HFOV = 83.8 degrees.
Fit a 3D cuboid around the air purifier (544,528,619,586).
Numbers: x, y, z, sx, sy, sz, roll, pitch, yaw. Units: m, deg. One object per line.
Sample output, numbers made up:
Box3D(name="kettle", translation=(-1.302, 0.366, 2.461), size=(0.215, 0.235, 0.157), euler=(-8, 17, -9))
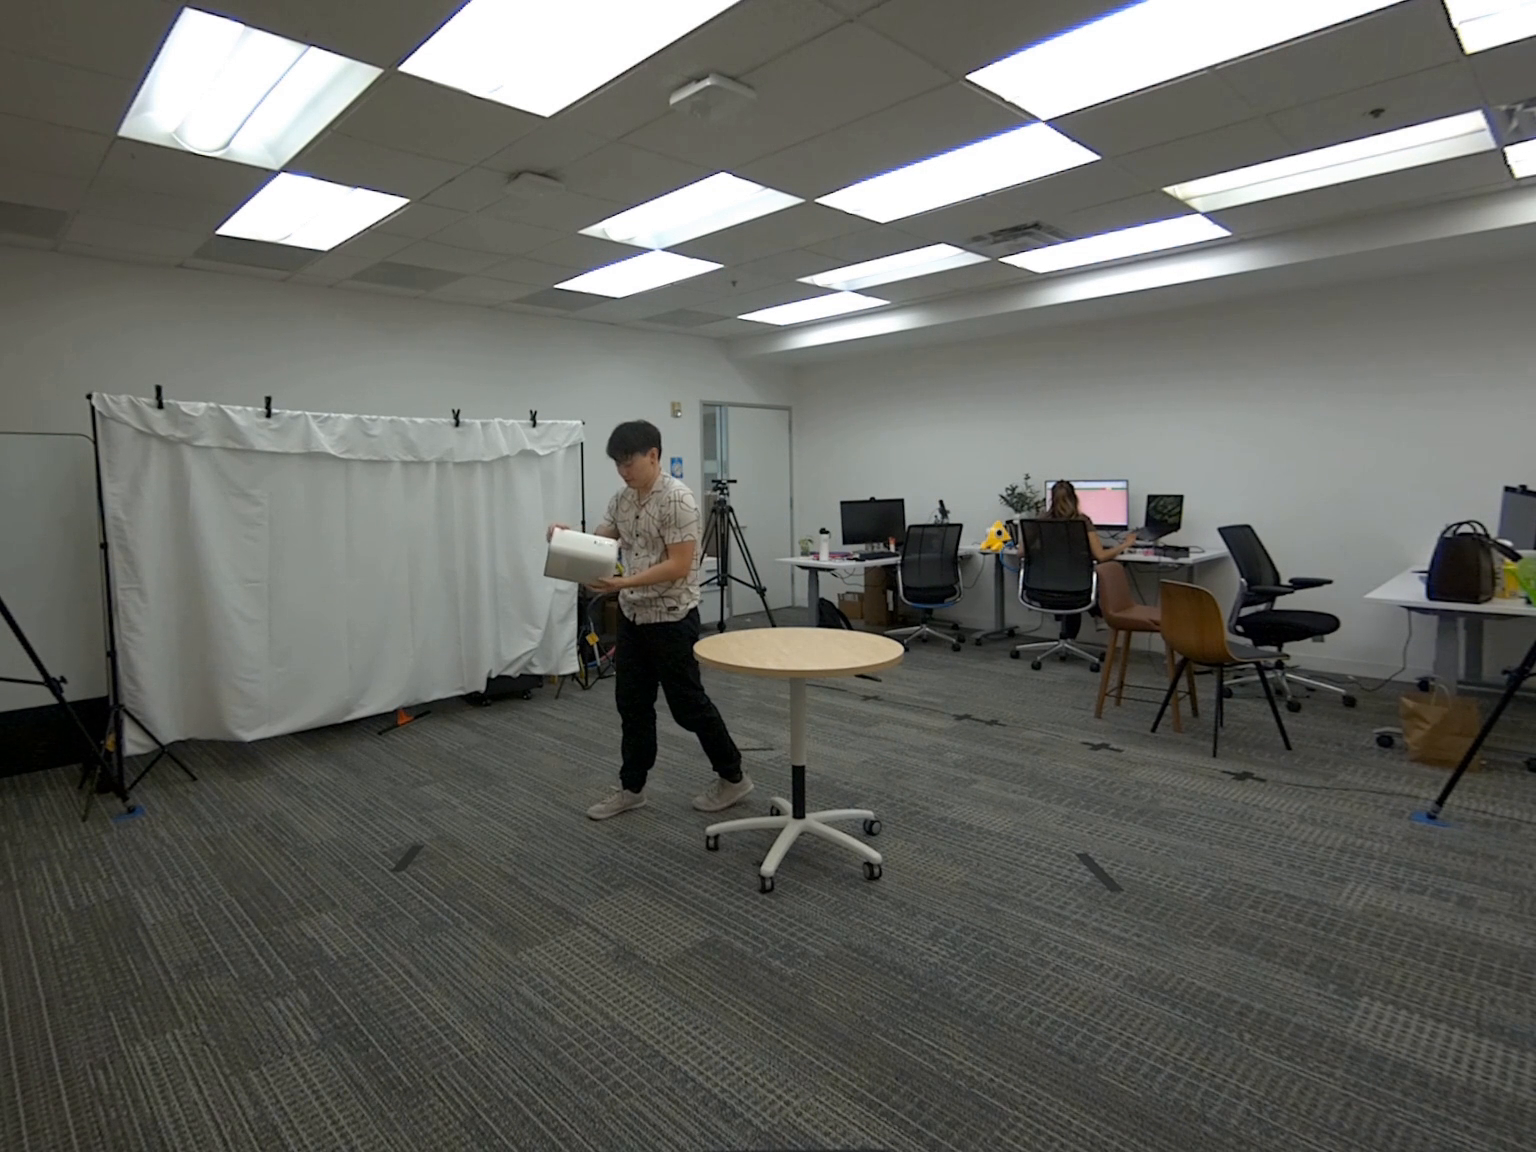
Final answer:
Box3D(name="air purifier", translation=(-0.732, -0.070, 3.375), size=(0.262, 0.169, 0.175), euler=(11, 29, -11))
